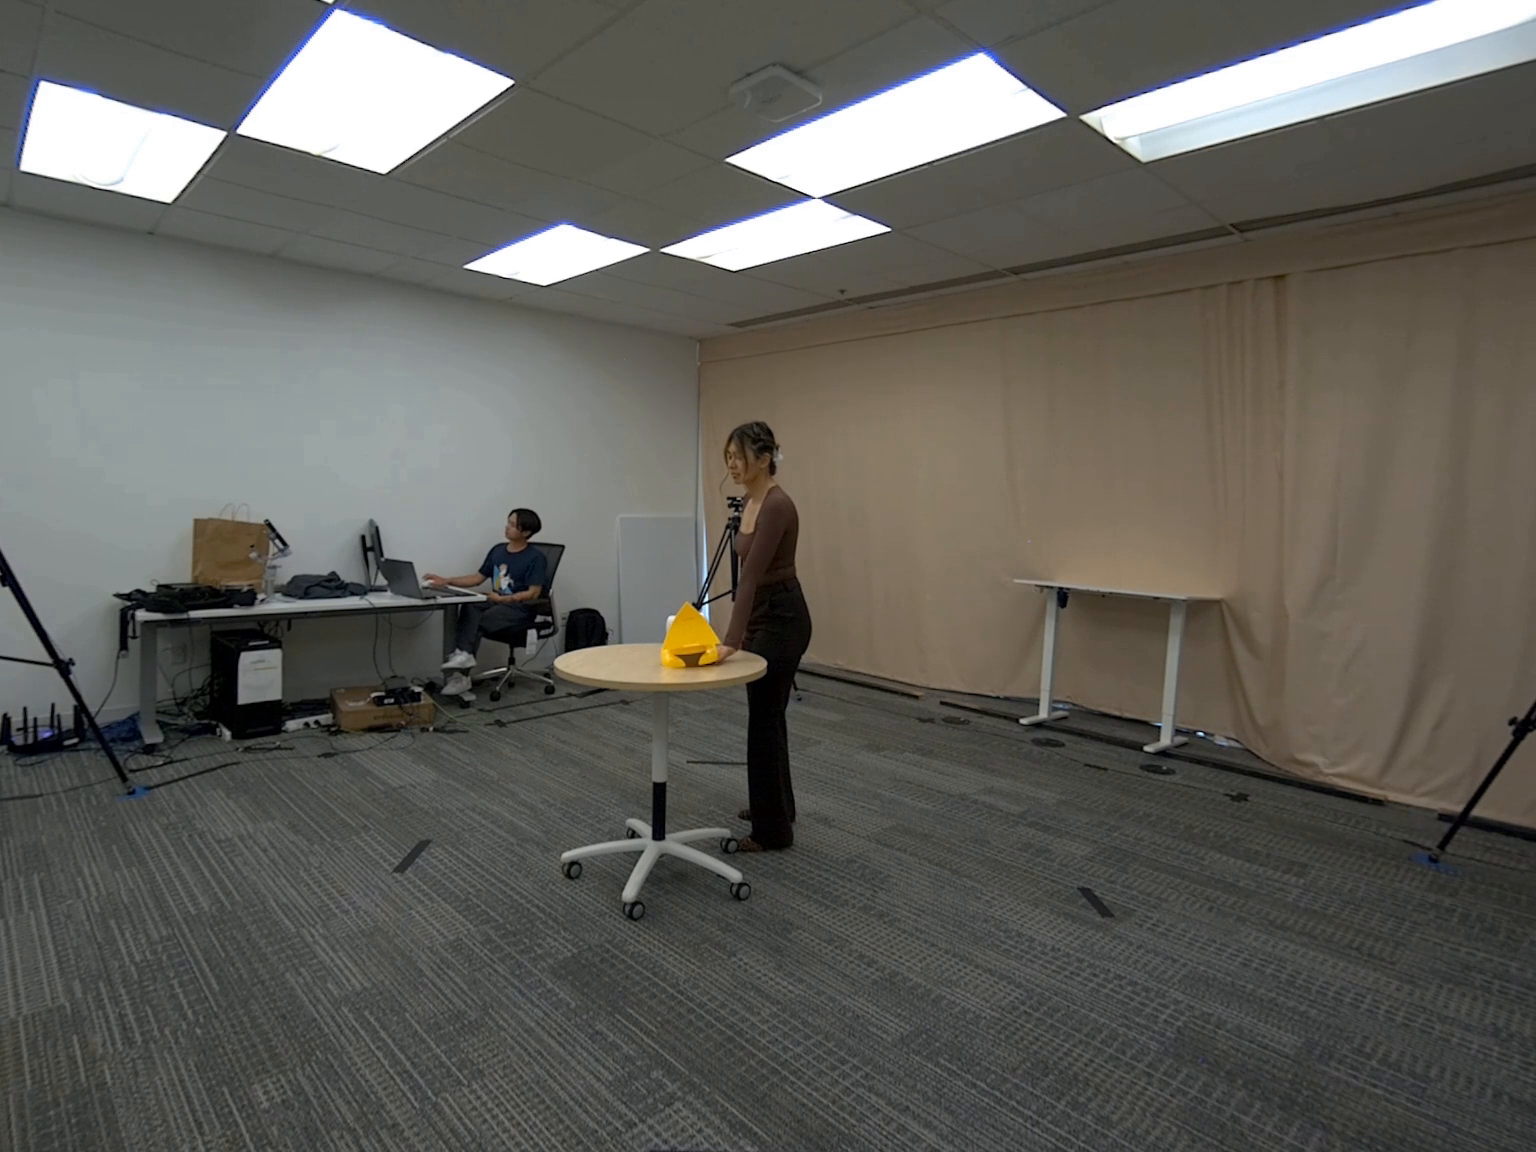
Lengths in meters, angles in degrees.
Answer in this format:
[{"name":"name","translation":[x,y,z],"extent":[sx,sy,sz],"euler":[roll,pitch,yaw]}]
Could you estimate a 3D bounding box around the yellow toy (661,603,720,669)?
[{"name":"yellow toy","translation":[-0.299,0.186,2.967],"extent":[0.203,0.228,0.196],"euler":[-7,14,-11]}]
